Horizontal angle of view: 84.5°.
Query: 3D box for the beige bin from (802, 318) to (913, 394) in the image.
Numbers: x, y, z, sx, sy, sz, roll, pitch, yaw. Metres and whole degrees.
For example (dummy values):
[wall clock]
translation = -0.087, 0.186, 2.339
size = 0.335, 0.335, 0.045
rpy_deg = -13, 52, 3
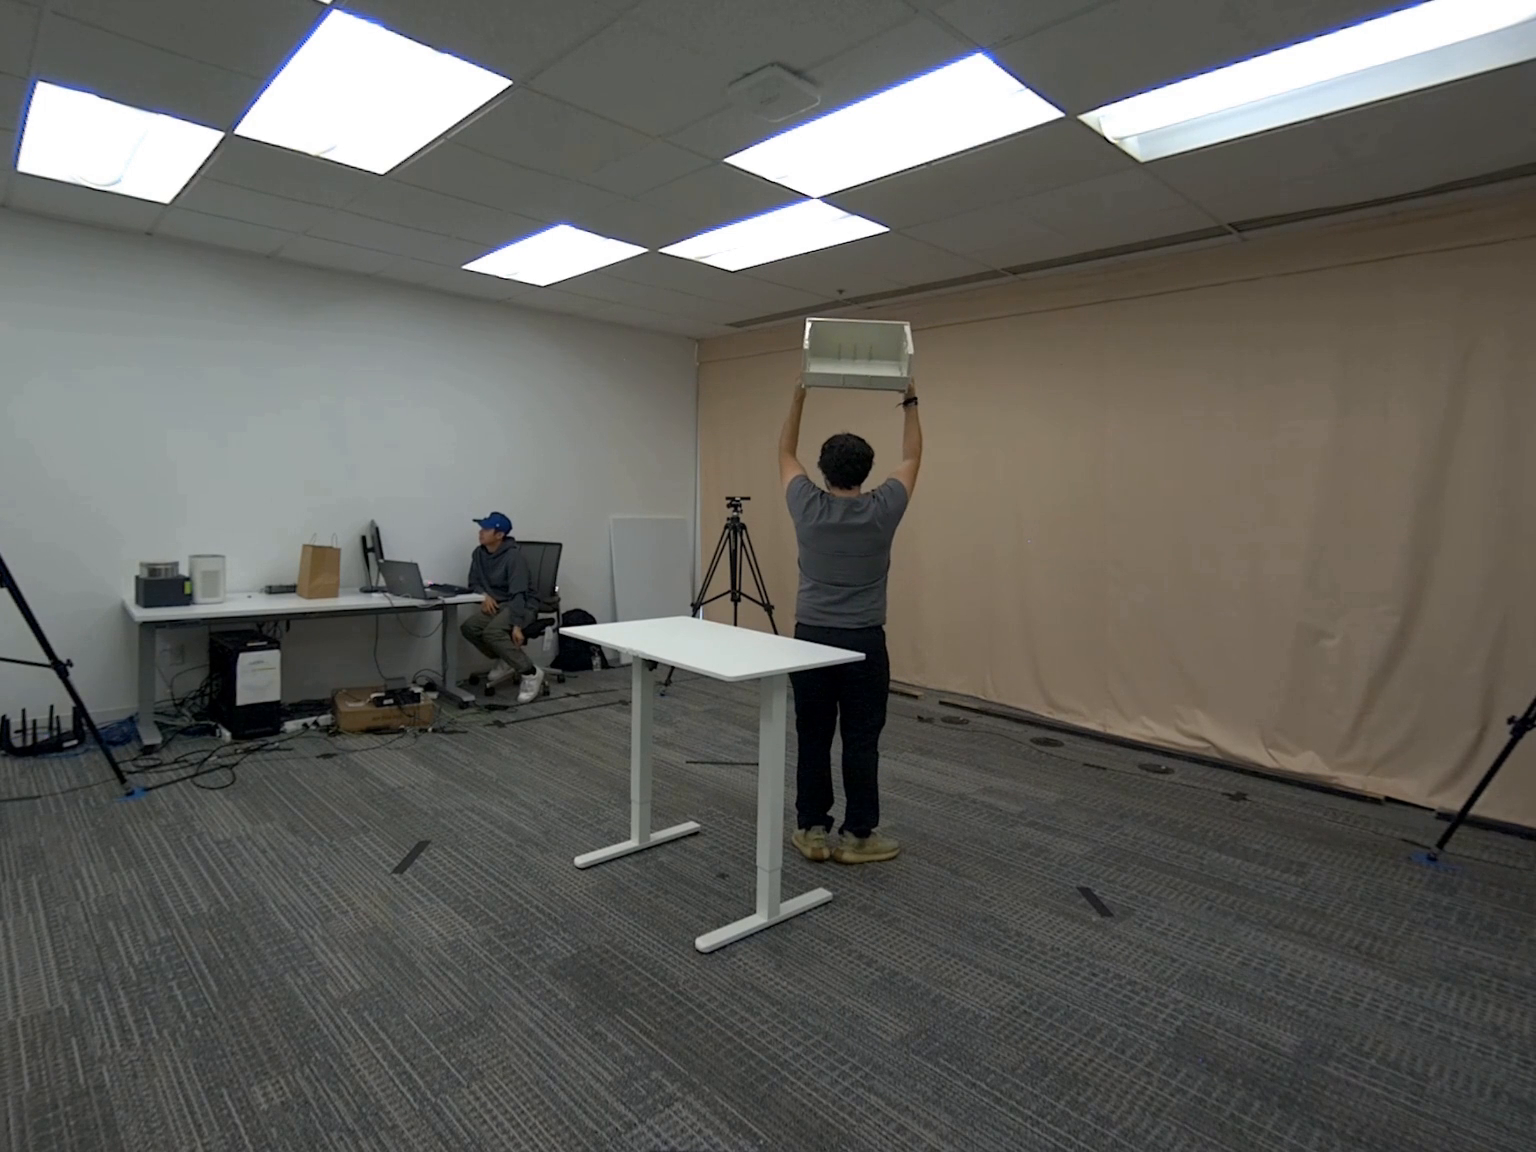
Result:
[beige bin]
translation = 0.352, -0.881, 3.392
size = 0.424, 0.185, 0.383
rpy_deg = 3, 34, 5
